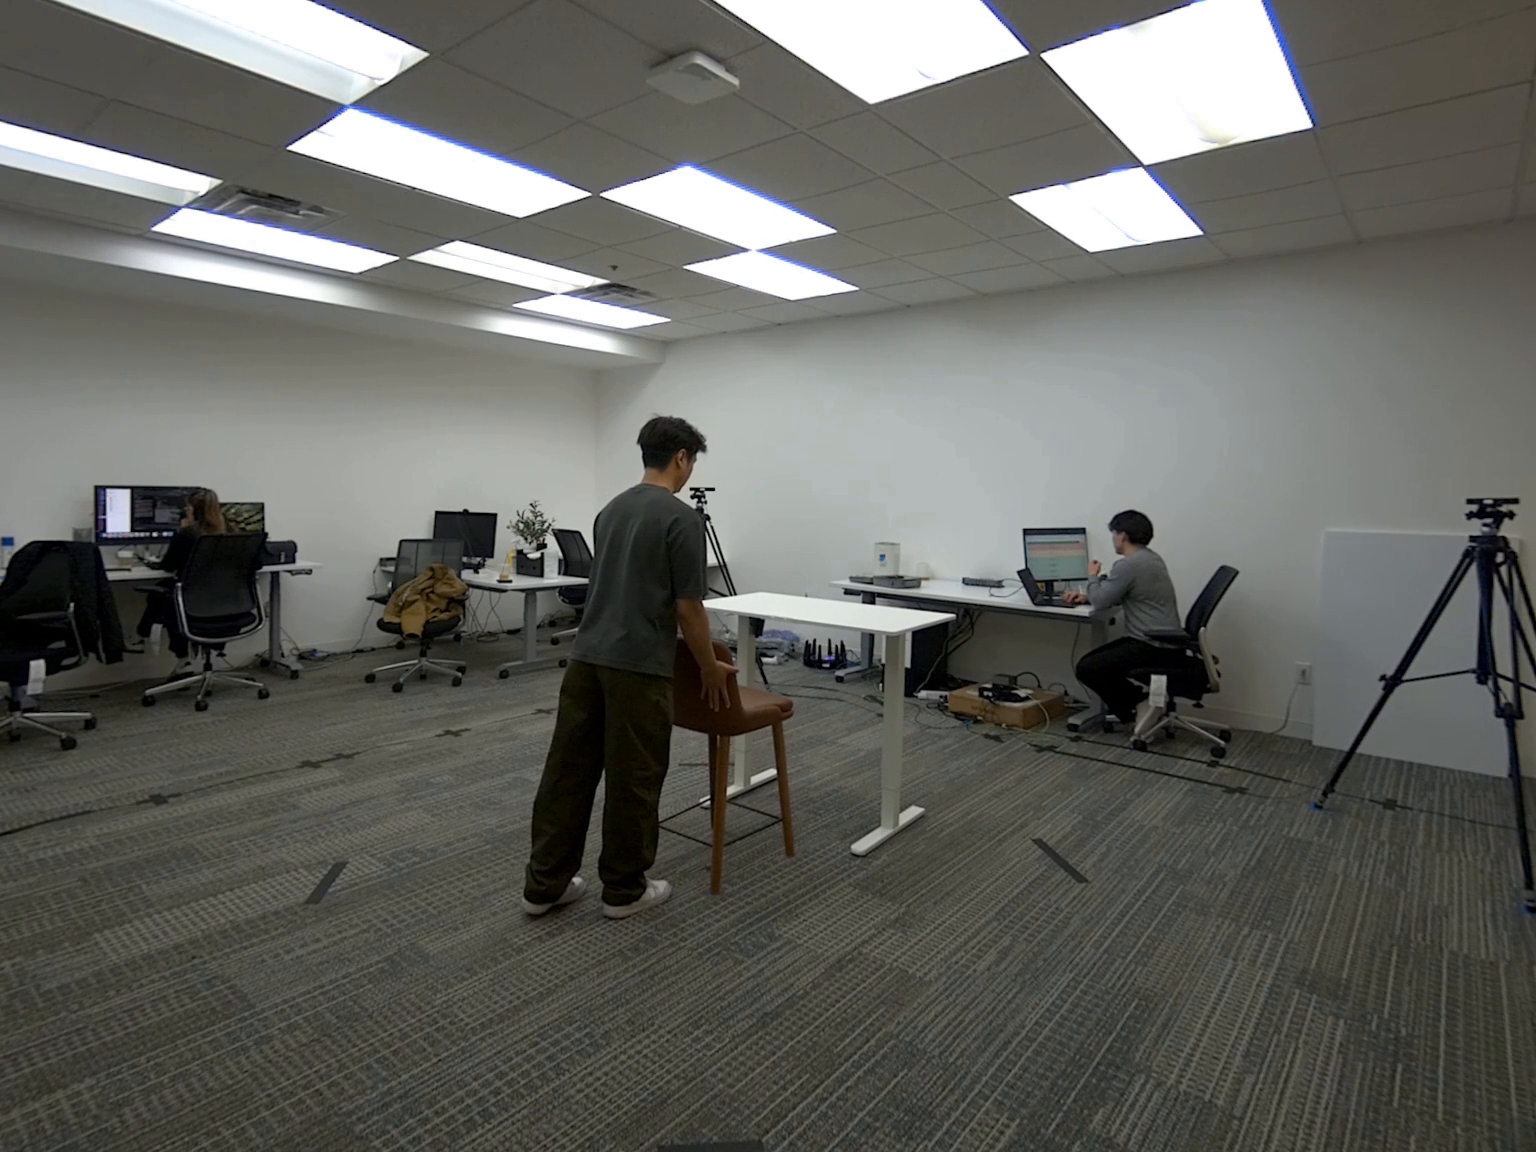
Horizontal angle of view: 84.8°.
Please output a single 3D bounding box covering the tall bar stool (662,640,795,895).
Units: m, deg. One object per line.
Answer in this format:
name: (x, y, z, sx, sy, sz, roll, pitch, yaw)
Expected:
tall bar stool: (-0.199, 0.621, 3.171, 0.471, 0.886, 0.454, 3, 6, 38)
